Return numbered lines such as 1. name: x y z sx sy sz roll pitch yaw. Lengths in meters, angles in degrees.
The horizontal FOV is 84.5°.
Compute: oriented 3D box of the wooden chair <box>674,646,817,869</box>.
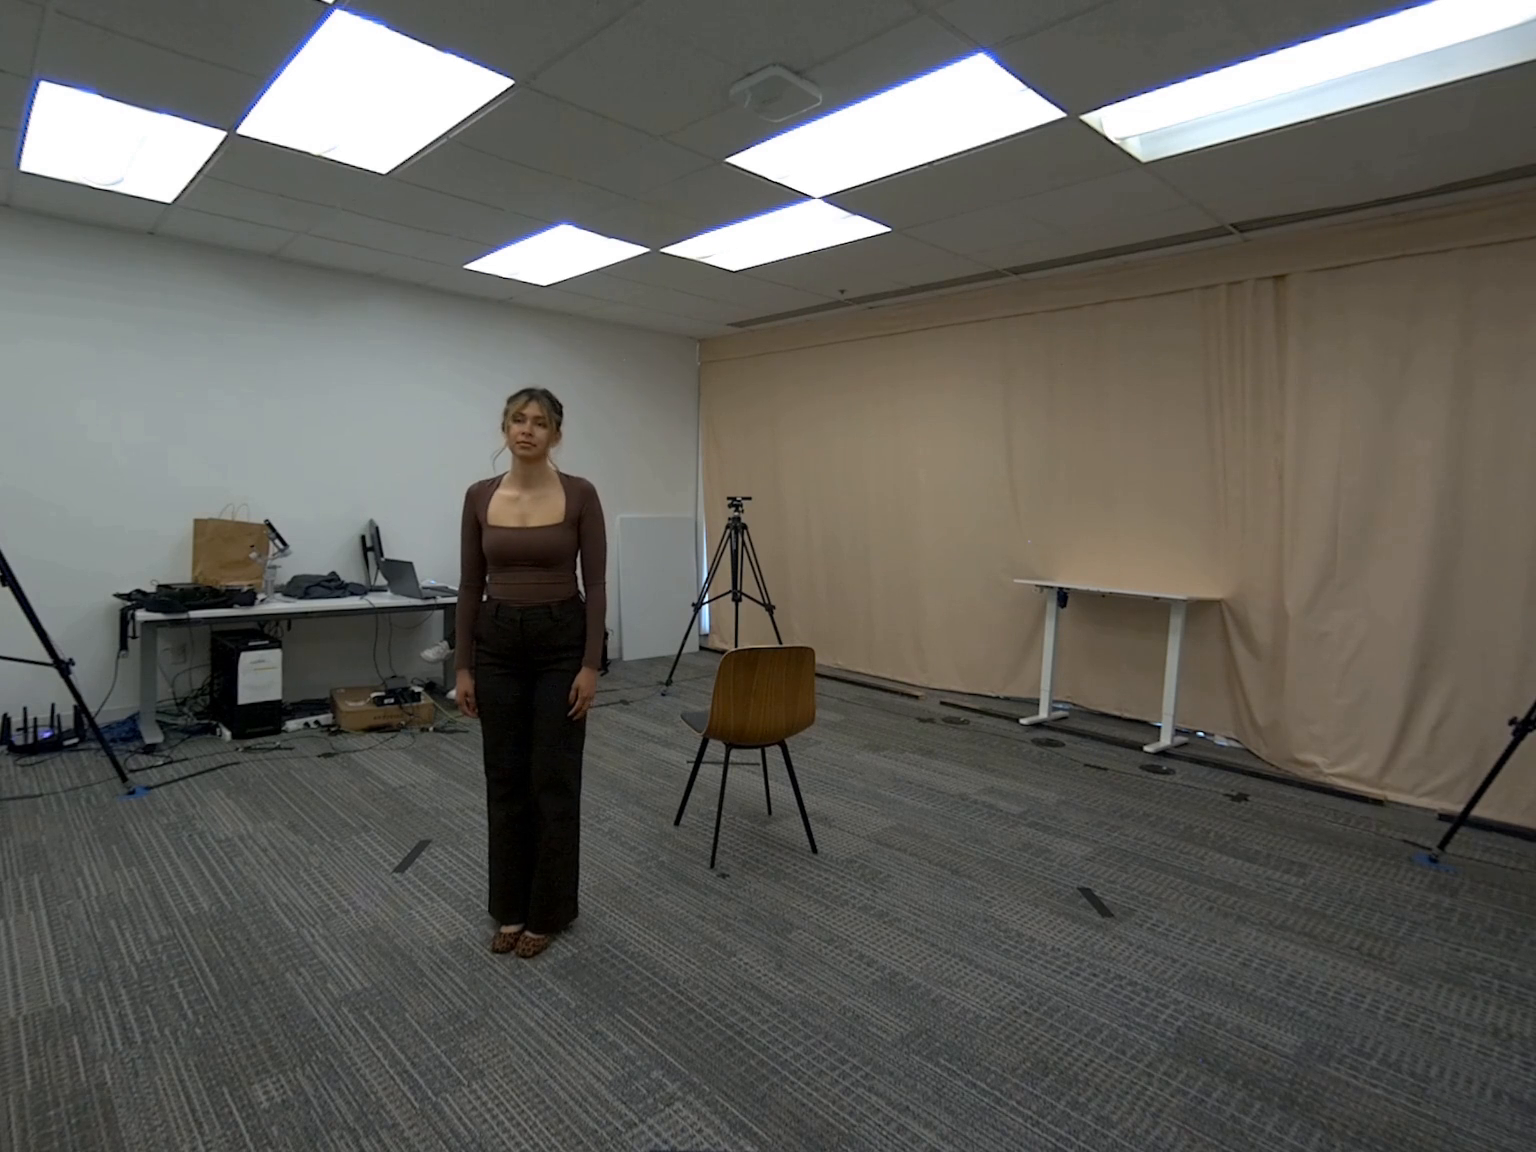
1. wooden chair: -0.097 0.652 3.424 0.470 0.873 0.535 0 8 -23
